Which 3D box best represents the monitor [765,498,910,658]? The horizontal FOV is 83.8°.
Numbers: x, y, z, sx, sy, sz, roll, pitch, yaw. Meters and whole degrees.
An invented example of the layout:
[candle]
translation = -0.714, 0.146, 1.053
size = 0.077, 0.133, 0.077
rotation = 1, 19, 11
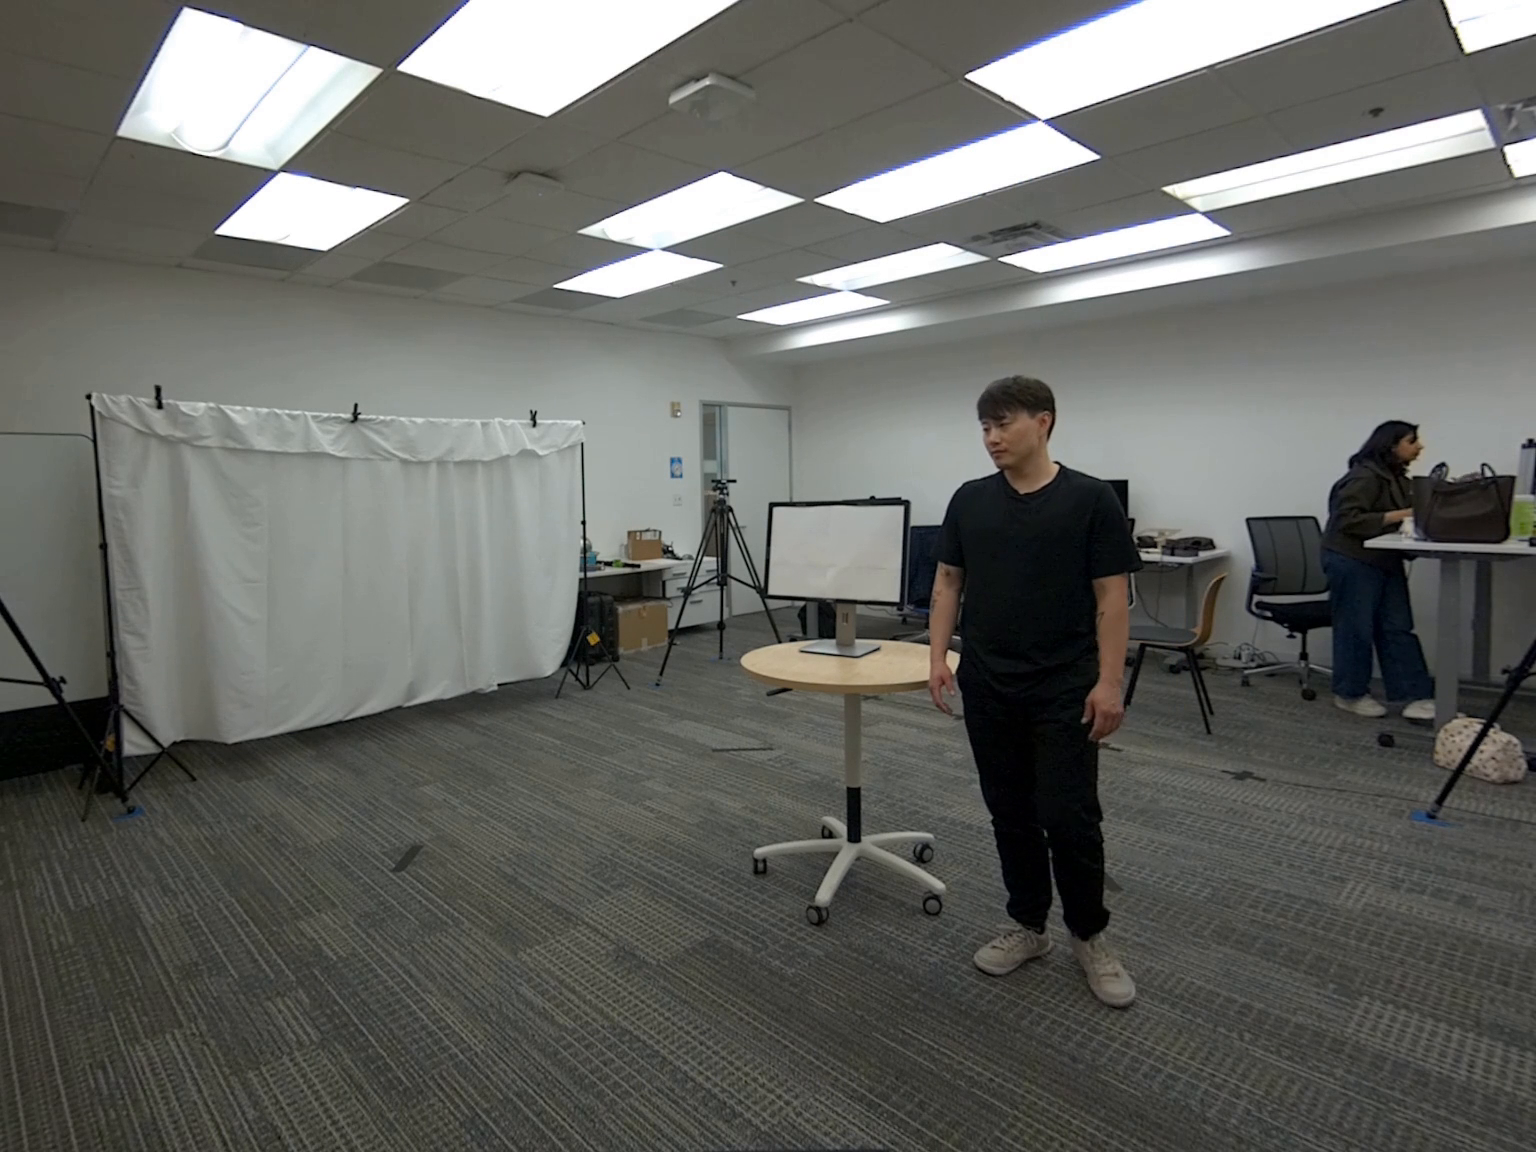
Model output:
[monitor]
translation = 0.260, 0.007, 3.075
size = 0.554, 0.520, 0.183
rotation = 1, 6, 32
